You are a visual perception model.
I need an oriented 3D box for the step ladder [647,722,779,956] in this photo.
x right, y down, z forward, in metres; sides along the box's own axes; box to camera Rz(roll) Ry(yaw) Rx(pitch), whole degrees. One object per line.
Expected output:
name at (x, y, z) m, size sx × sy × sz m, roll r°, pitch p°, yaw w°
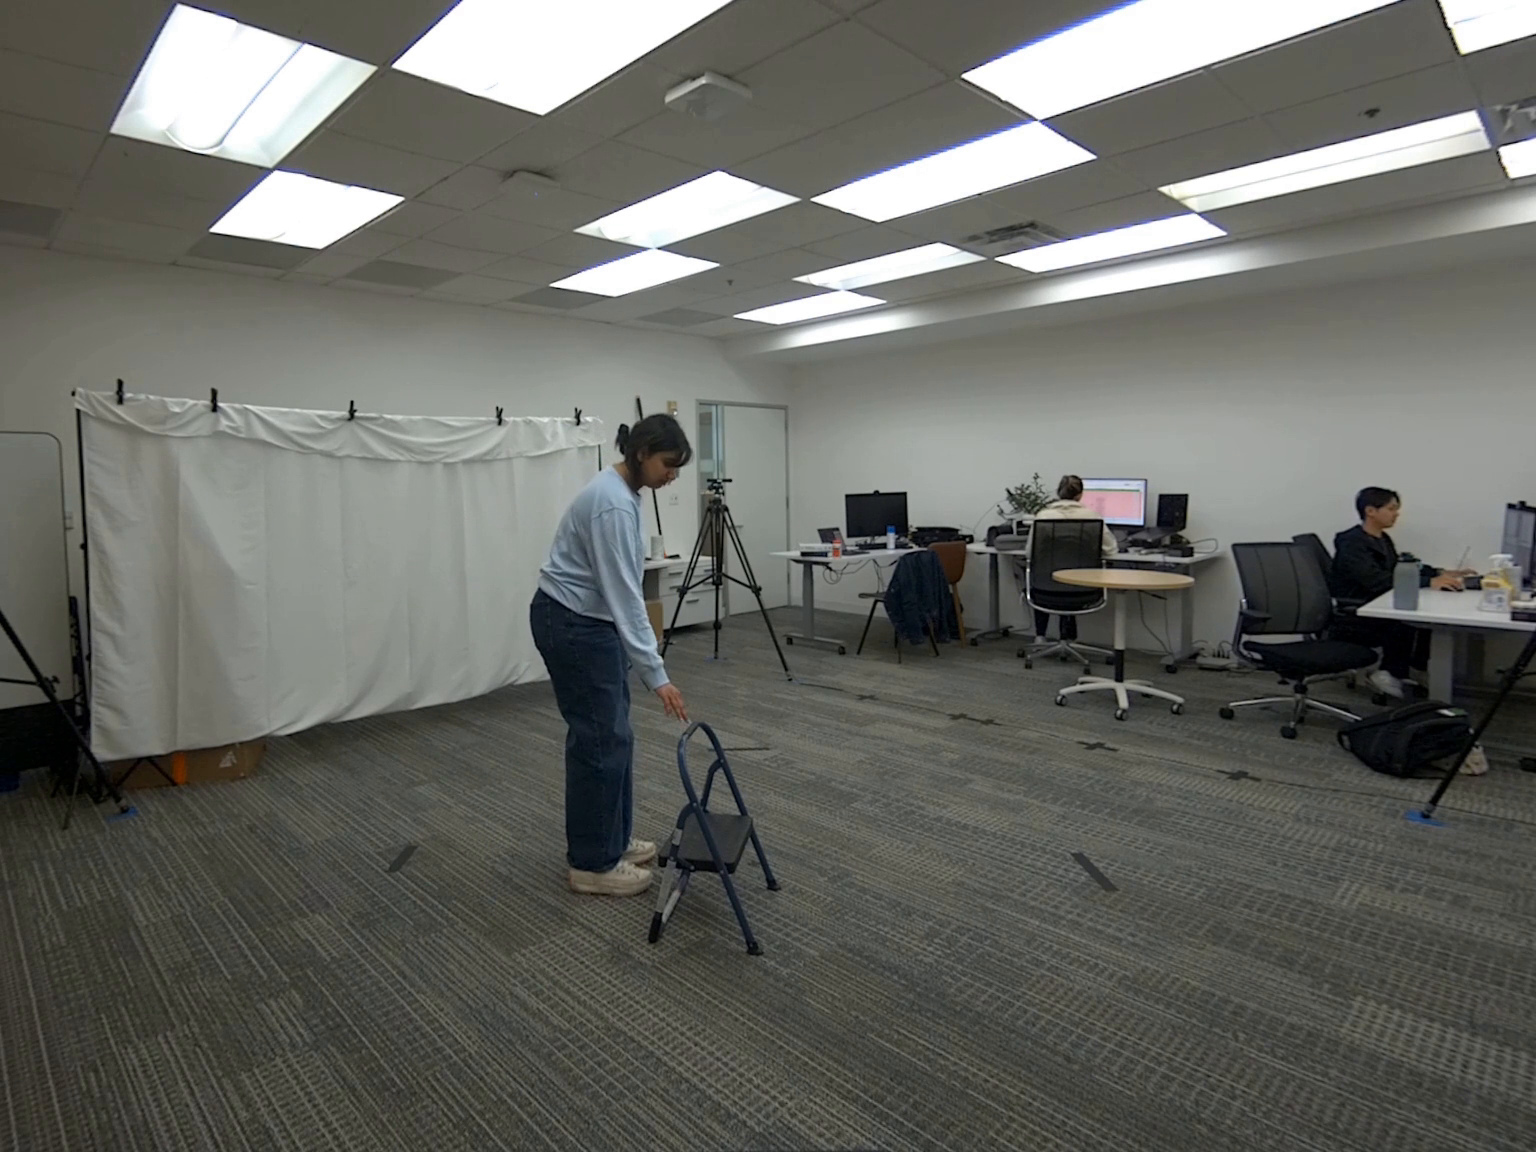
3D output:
step ladder at (-0.167, 0.787, 2.727) m, size 0.353 × 0.604 × 0.428 m, roll 0°, pitch 5°, yaw 10°
